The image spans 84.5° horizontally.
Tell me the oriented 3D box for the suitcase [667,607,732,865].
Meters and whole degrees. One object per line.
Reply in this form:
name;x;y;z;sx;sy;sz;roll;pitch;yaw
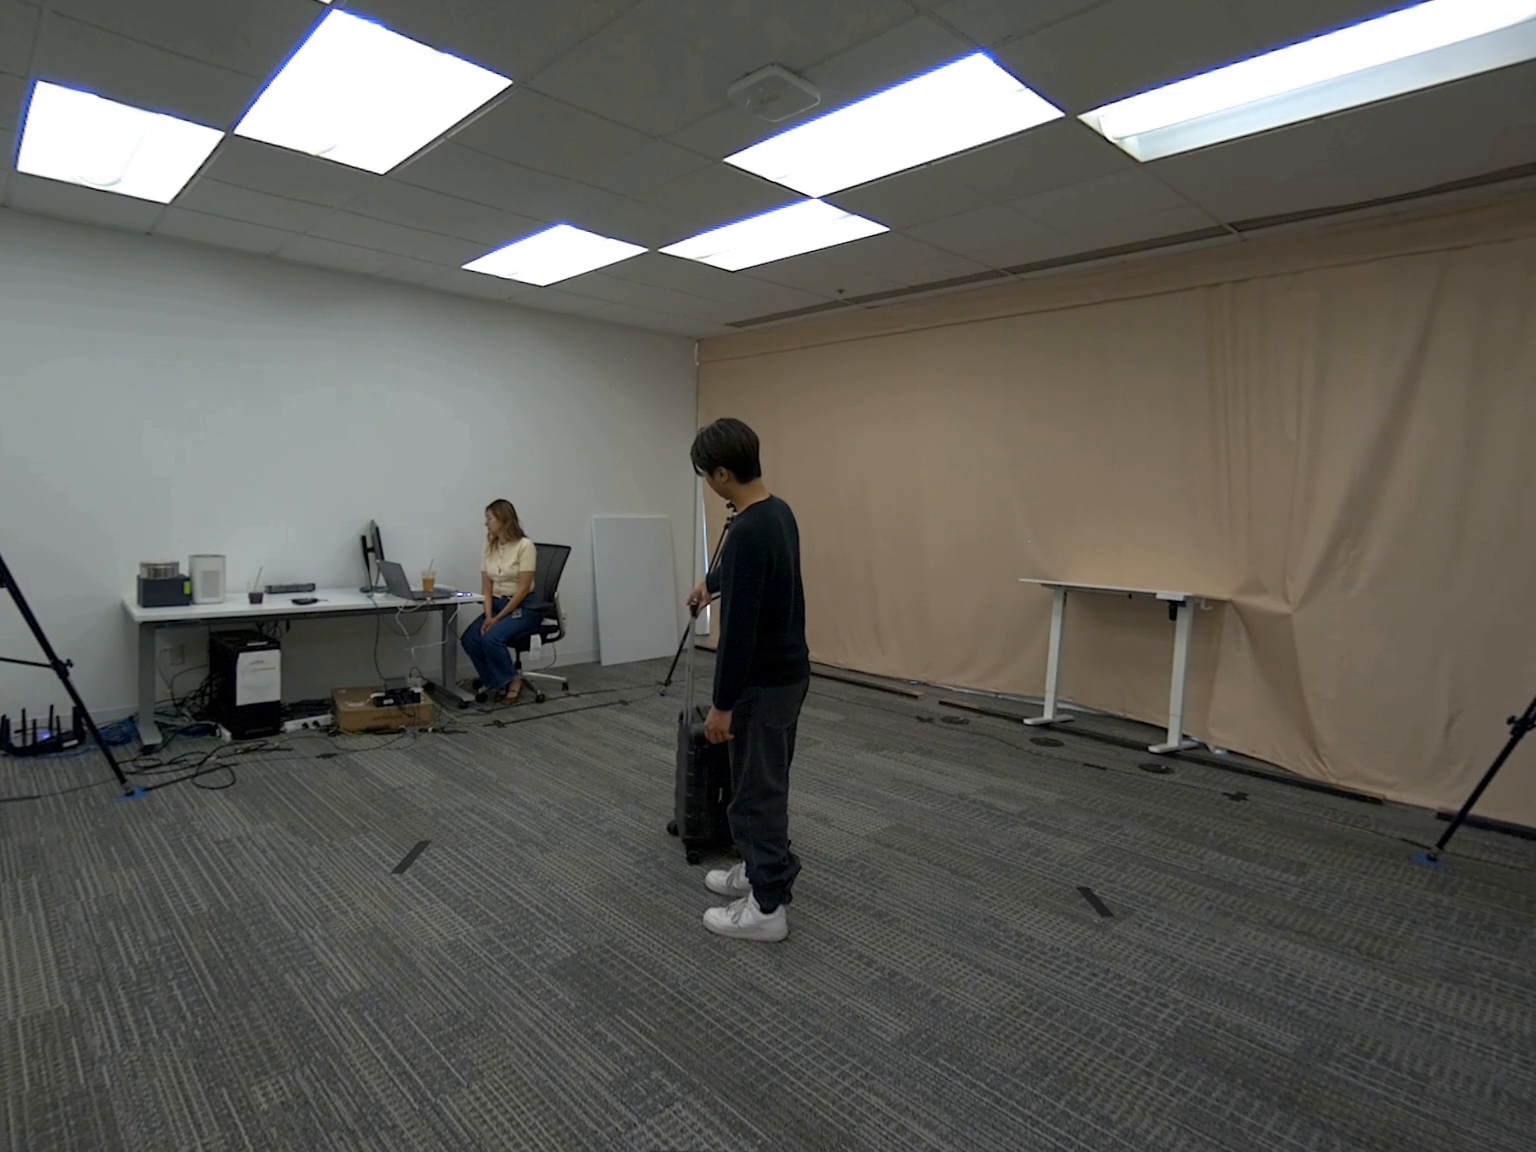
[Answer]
suitcase;-0.223;0.606;3.357;0.255;0.977;0.388;4;3;-11
